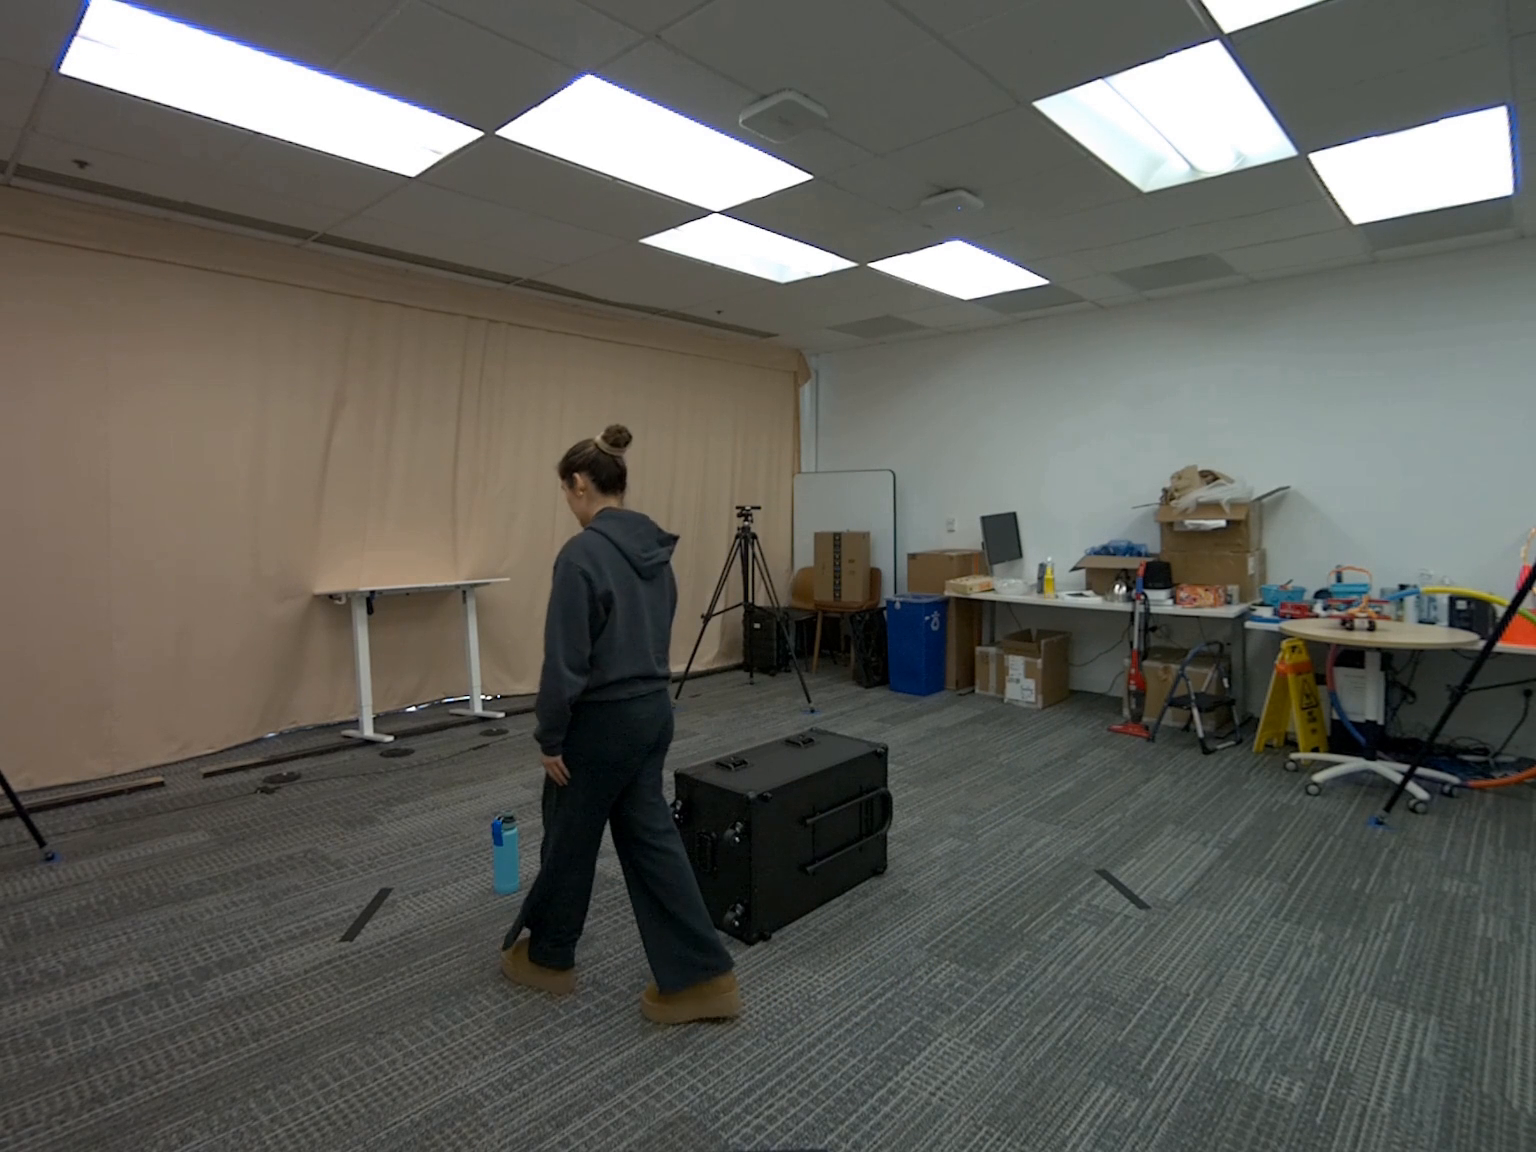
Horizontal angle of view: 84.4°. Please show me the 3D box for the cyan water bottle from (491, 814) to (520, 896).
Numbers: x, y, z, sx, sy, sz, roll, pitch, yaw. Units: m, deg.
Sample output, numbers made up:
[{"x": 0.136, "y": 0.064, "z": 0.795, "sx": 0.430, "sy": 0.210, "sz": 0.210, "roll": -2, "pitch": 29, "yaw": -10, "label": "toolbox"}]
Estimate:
[{"x": -0.943, "y": 1.018, "z": 3.078, "sx": 0.092, "sy": 0.283, "sz": 0.092, "roll": -2, "pitch": 2, "yaw": -2, "label": "cyan water bottle"}]
